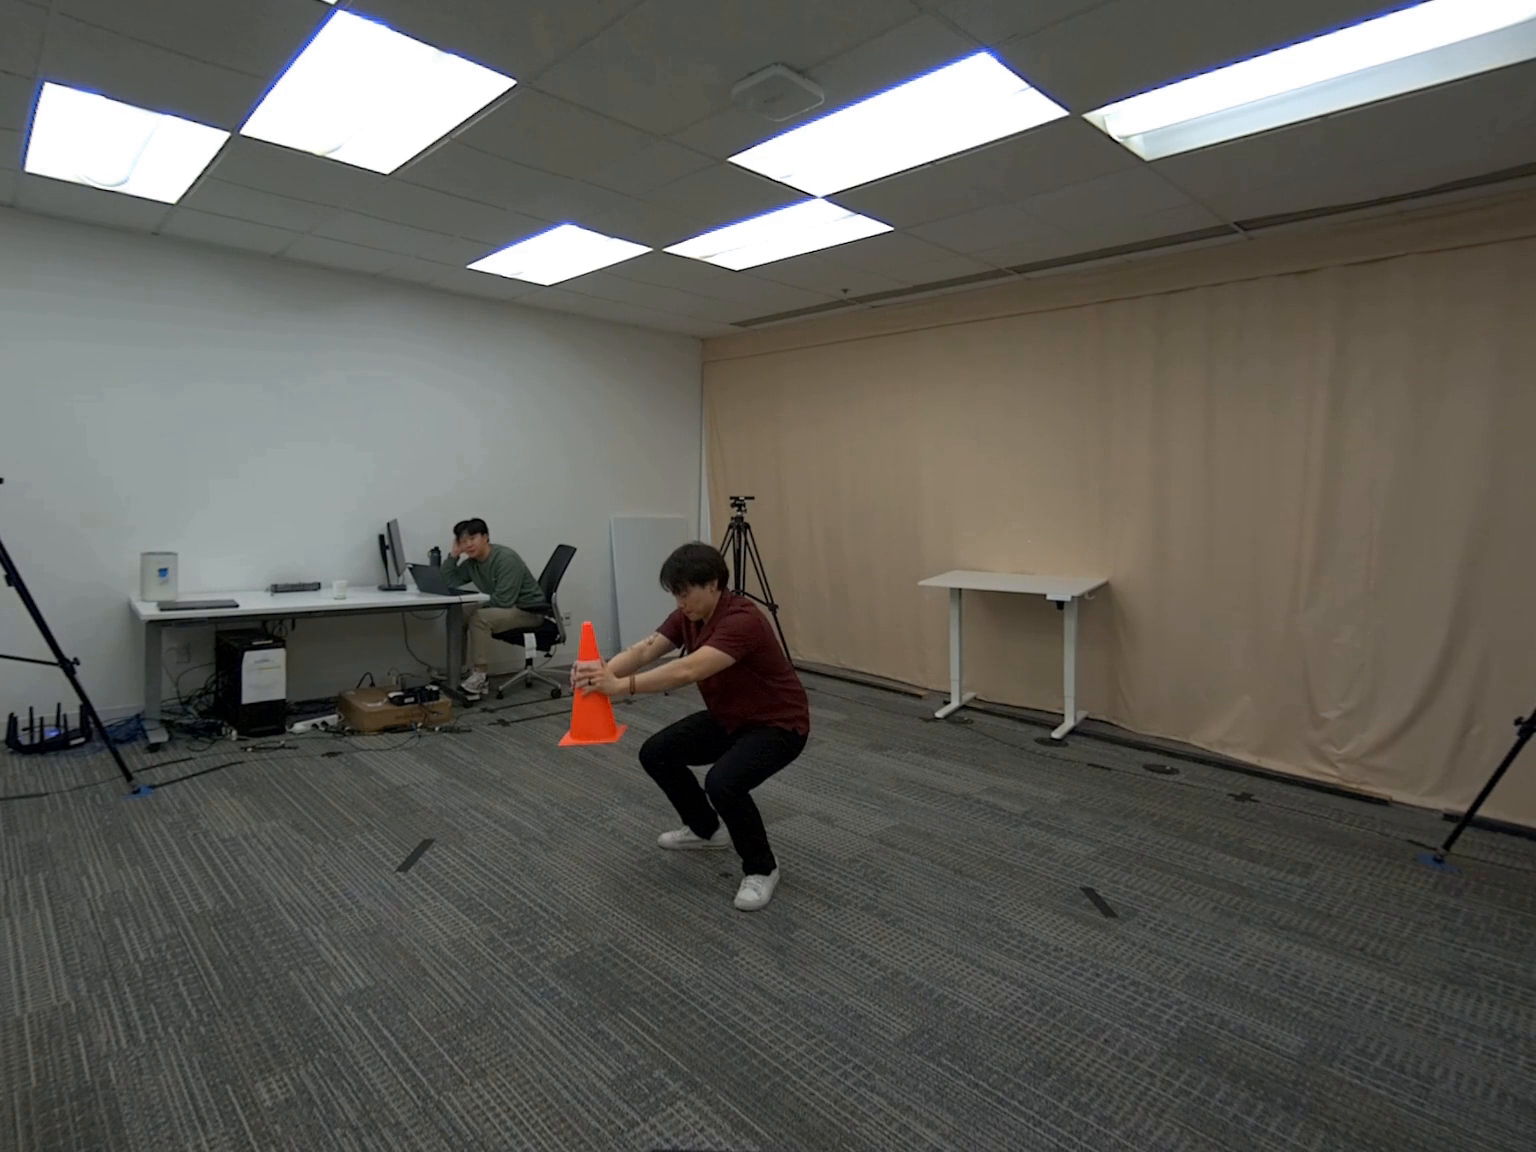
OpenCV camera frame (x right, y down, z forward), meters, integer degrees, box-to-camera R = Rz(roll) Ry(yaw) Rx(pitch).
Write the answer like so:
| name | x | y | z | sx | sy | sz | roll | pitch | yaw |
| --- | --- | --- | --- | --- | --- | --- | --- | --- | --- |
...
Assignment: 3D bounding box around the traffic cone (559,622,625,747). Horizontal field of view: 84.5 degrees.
| name | x | y | z | sx | sy | sz | roll | pitch | yaw |
| --- | --- | --- | --- | --- | --- | --- | --- | --- | --- |
| traffic cone | -0.597 | 0.350 | 2.810 | 0.206 | 0.382 | 0.203 | 0 | 4 | 6 |
